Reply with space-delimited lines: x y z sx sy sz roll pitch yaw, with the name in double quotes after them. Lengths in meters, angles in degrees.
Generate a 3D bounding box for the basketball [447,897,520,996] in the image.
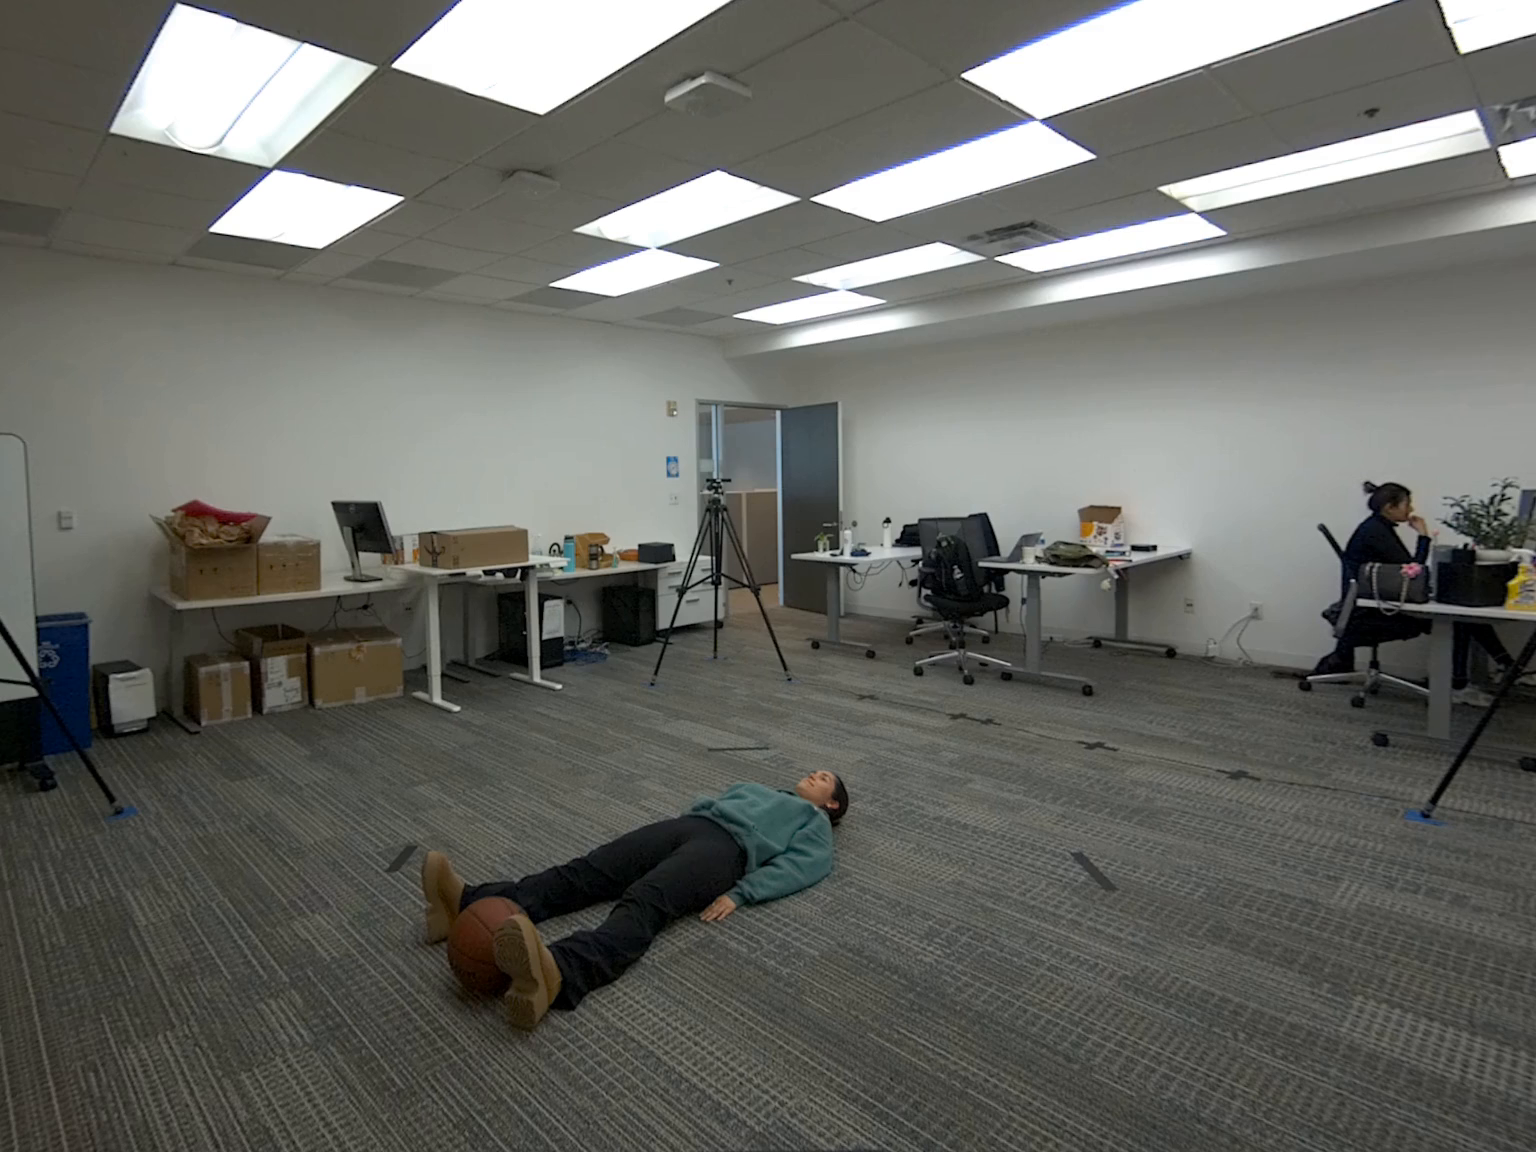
-0.762 1.022 2.389 0.236 0.235 0.237 -1 4 -2 "basketball"
